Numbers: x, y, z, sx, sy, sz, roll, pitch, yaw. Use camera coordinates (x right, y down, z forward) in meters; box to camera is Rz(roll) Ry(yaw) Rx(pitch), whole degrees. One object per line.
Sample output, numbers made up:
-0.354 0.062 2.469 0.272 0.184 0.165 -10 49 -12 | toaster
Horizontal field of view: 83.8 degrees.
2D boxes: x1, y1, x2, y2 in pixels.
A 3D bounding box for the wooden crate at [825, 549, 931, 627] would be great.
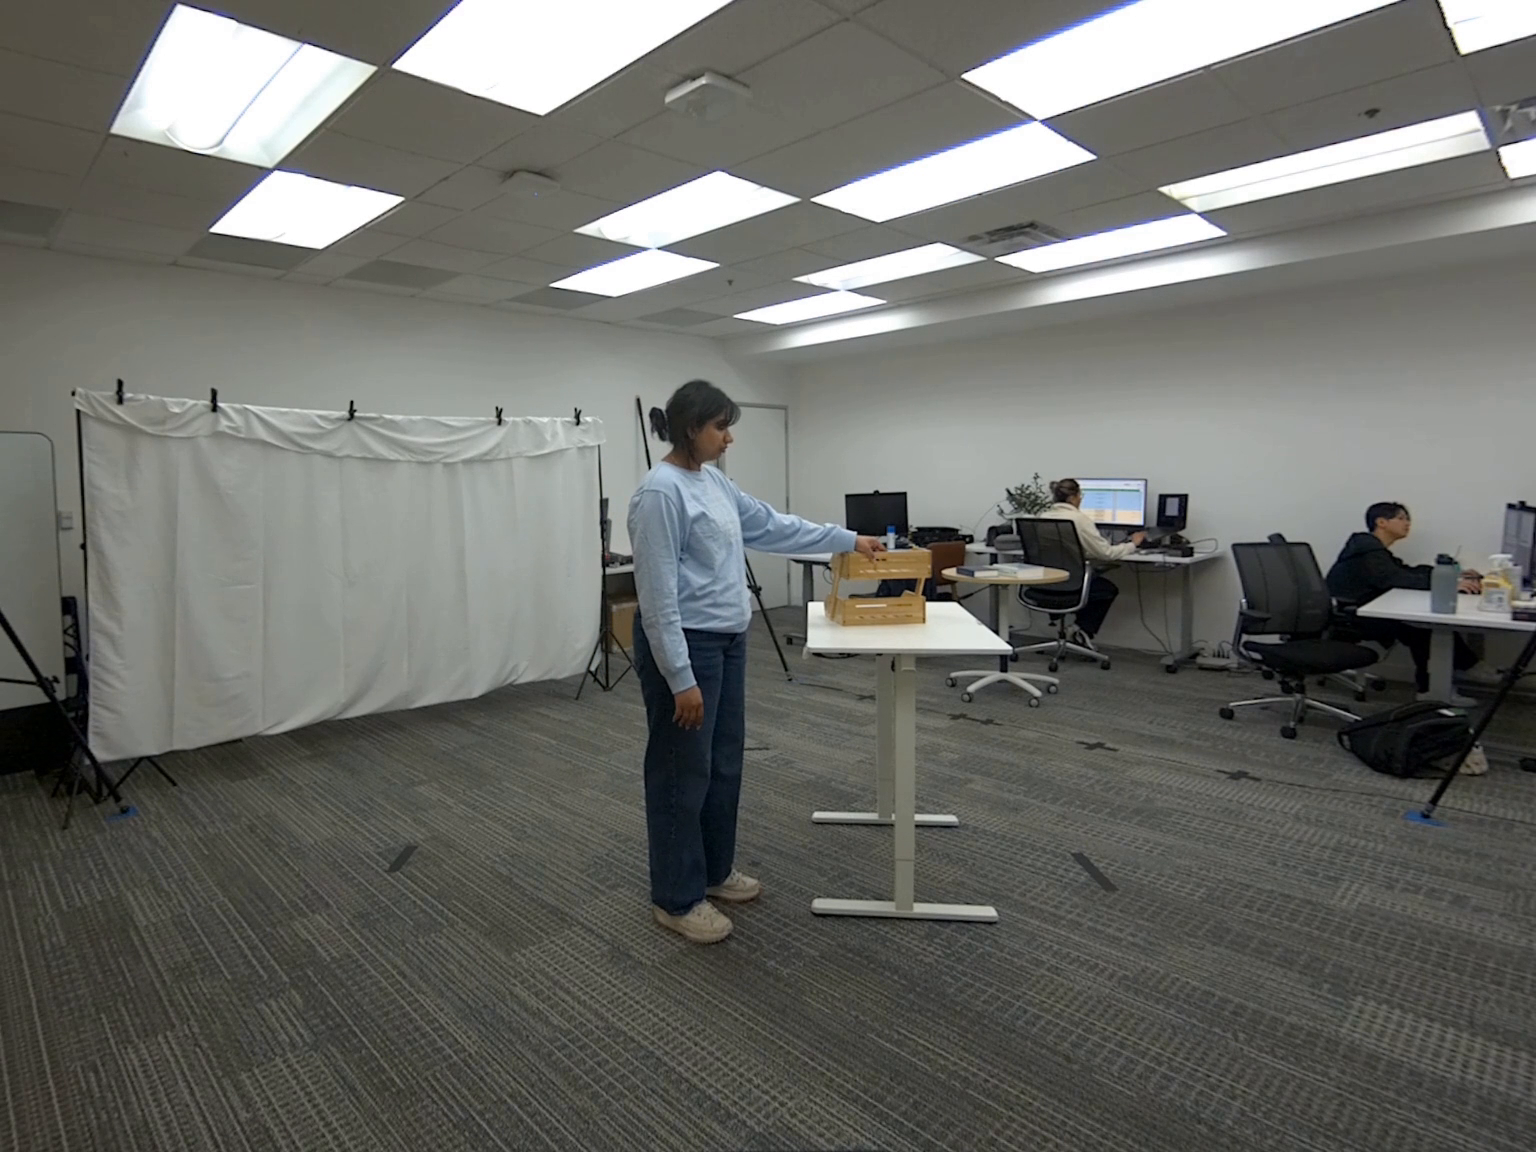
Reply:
0.398 0.030 3.060 0.322 0.272 0.306 -1 6 -9 | wooden crate
